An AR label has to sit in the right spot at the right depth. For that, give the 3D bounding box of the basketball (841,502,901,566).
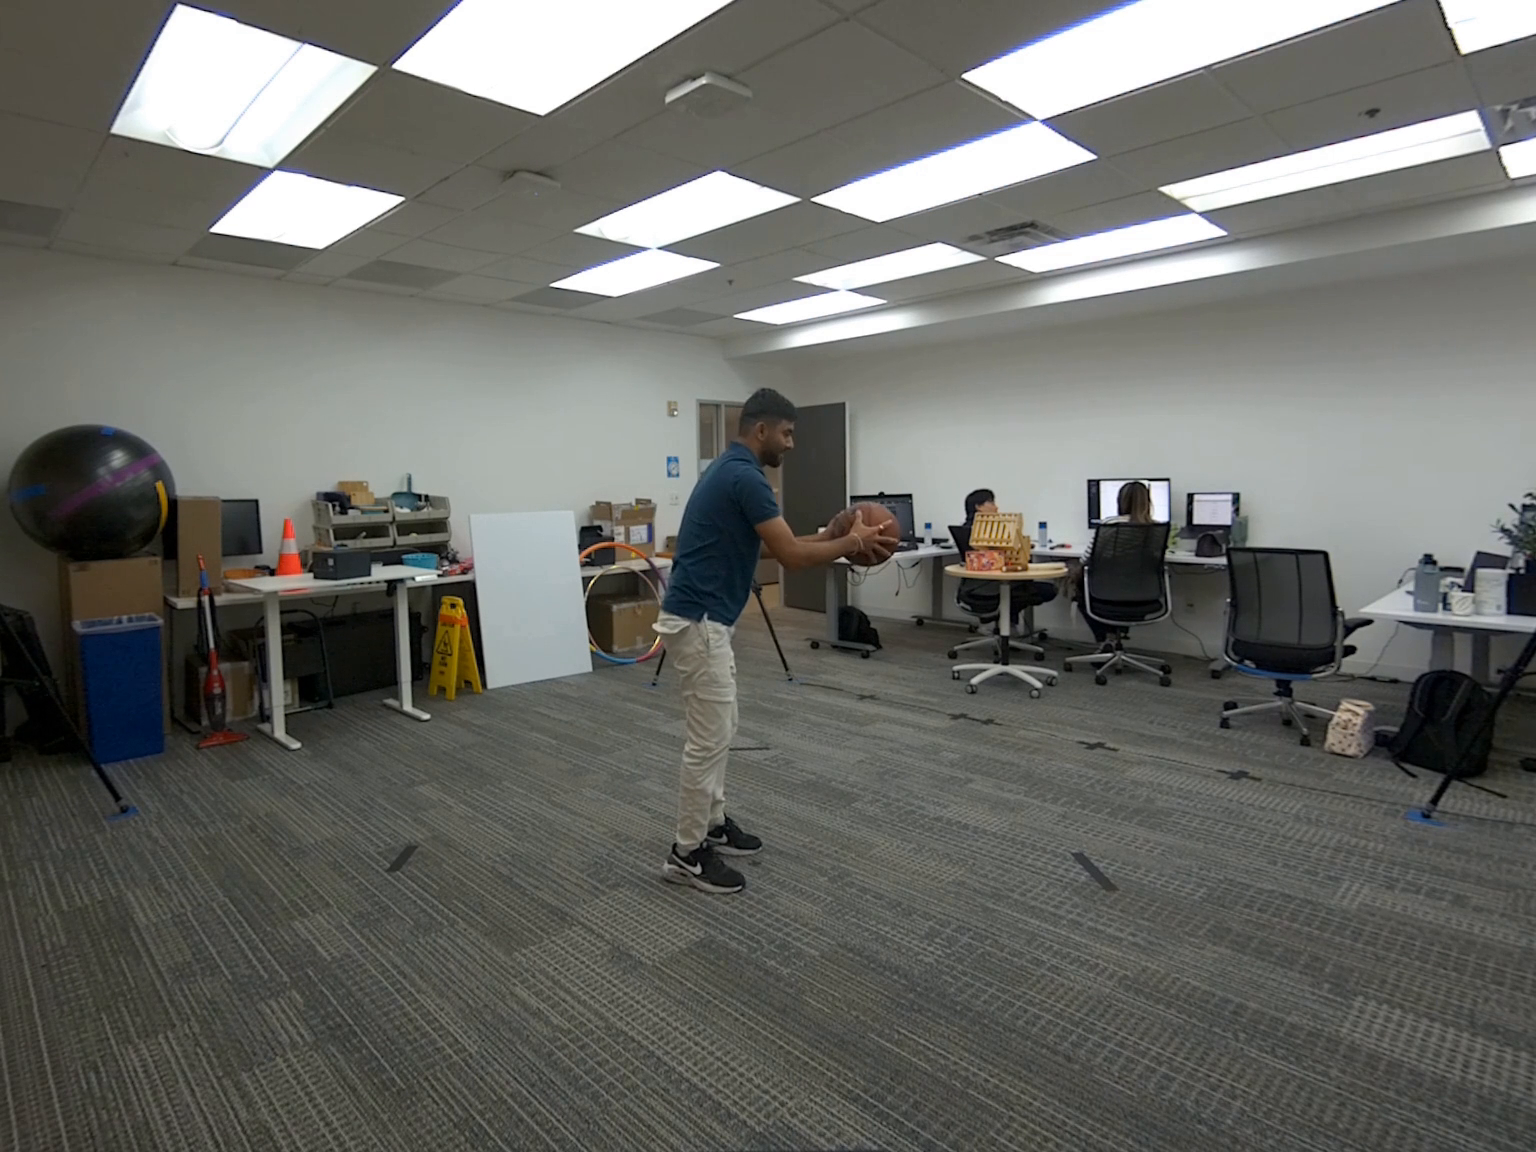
[{"bbox_3d":[0.364,-0.171,3.131,0.236,0.235,0.237,-1,5,-2],"label":"basketball"}]
